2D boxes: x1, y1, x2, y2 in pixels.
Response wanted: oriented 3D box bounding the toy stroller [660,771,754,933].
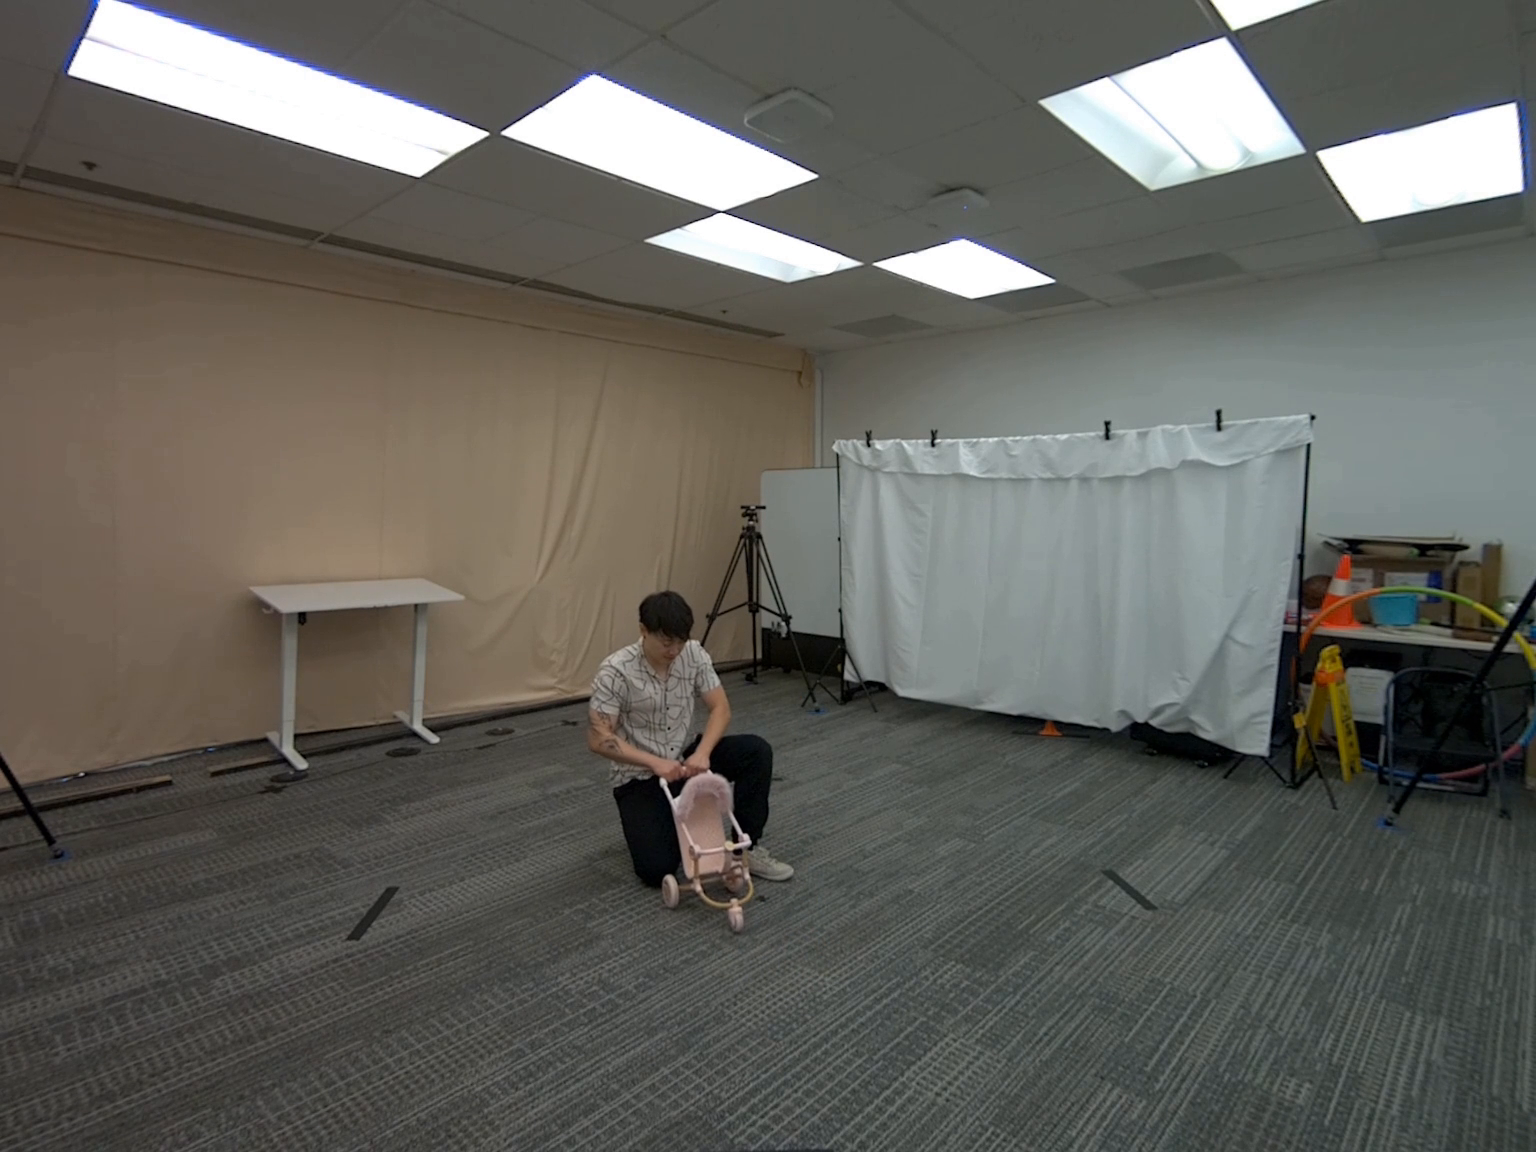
[{"bbox_3d":[-0.201,0.920,2.915,0.275,0.540,0.346,-2,-13,-25],"label":"toy stroller"}]
